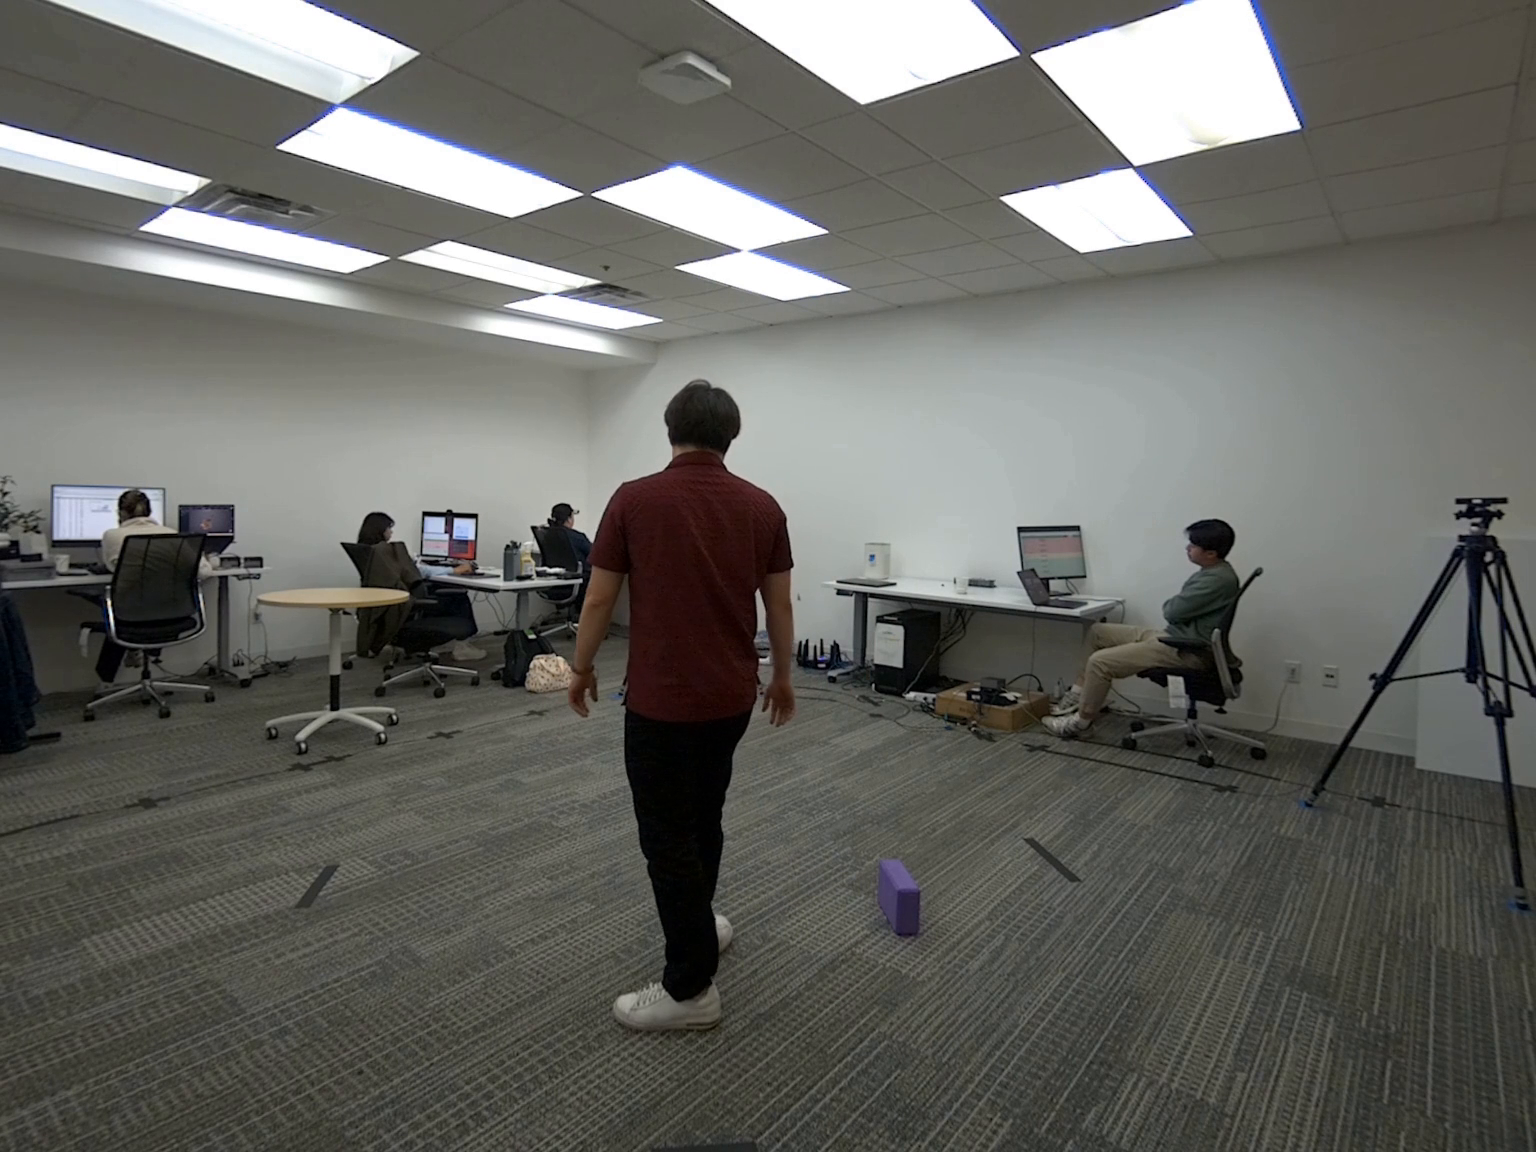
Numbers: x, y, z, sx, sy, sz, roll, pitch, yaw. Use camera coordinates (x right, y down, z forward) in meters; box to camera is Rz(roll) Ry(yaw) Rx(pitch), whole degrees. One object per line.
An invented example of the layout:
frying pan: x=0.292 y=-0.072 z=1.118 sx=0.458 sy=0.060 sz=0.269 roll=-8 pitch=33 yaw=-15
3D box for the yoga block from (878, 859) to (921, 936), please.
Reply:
yoga block: x=0.421 y=1.036 z=2.779 sx=0.076 sy=0.148 sz=0.232 roll=2 pitch=5 yaw=-8
